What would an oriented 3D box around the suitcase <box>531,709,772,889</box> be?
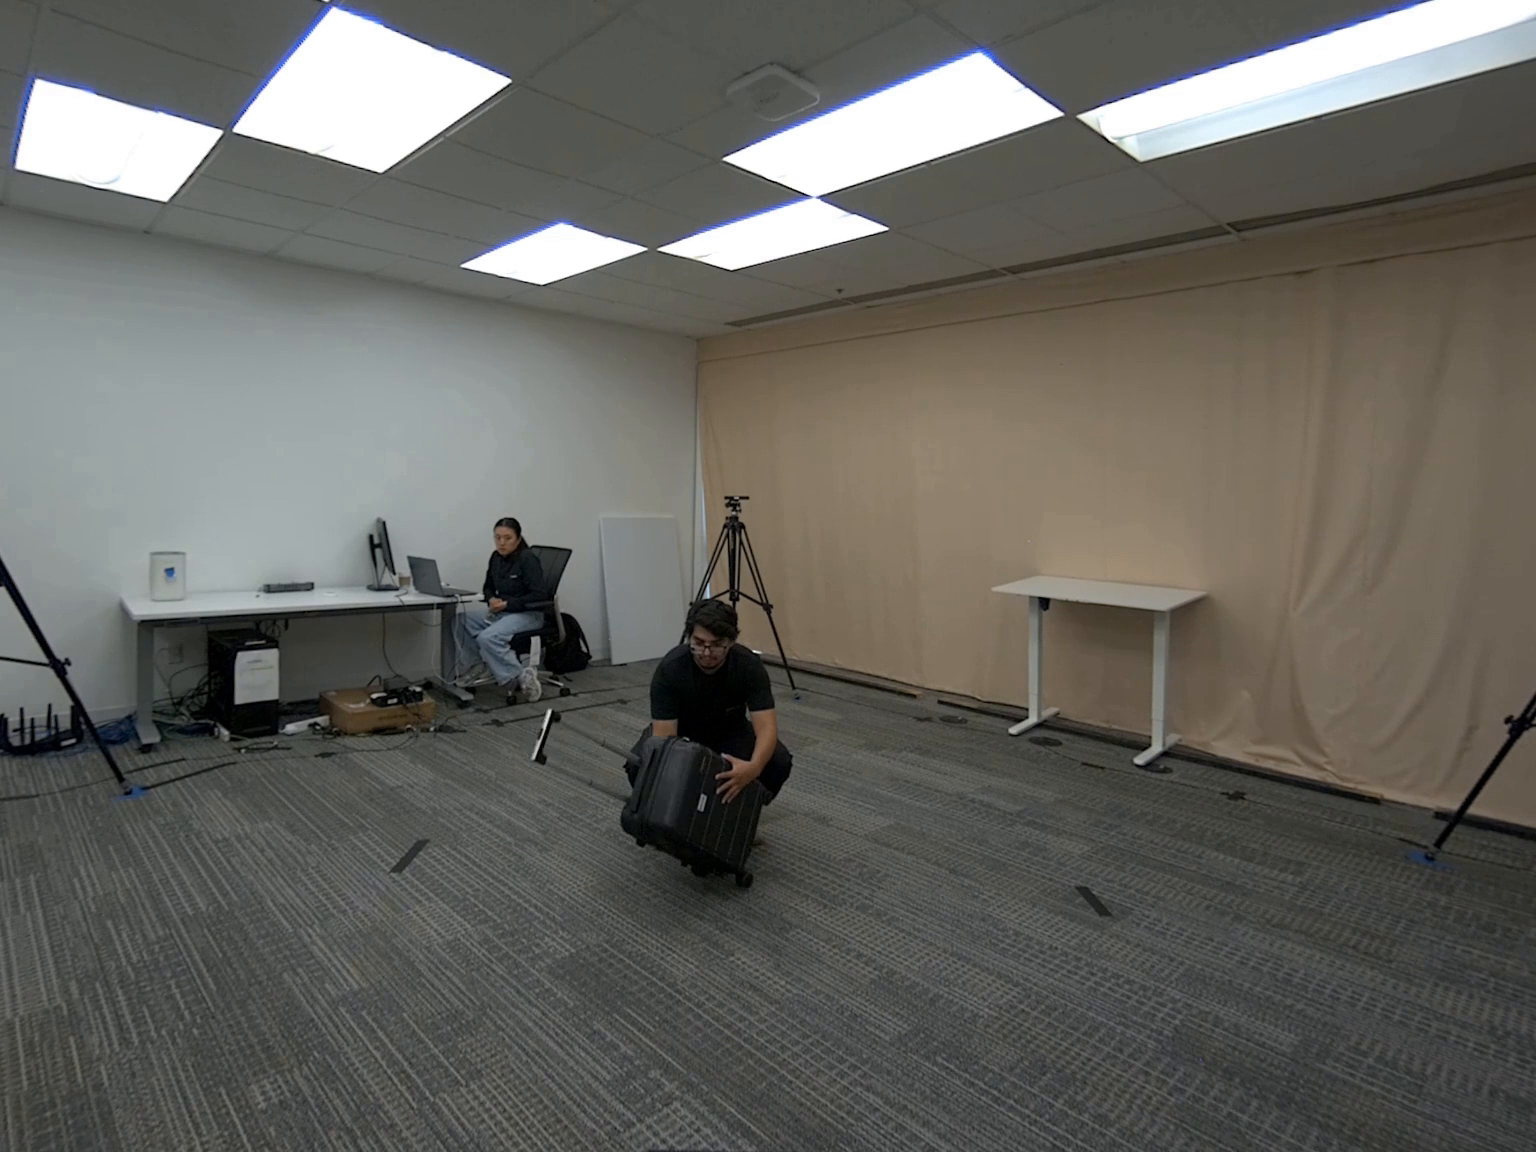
[{"bbox_3d":[-0.356,0.713,2.797,0.263,0.388,0.947,-2,-31,34],"label":"suitcase"}]
